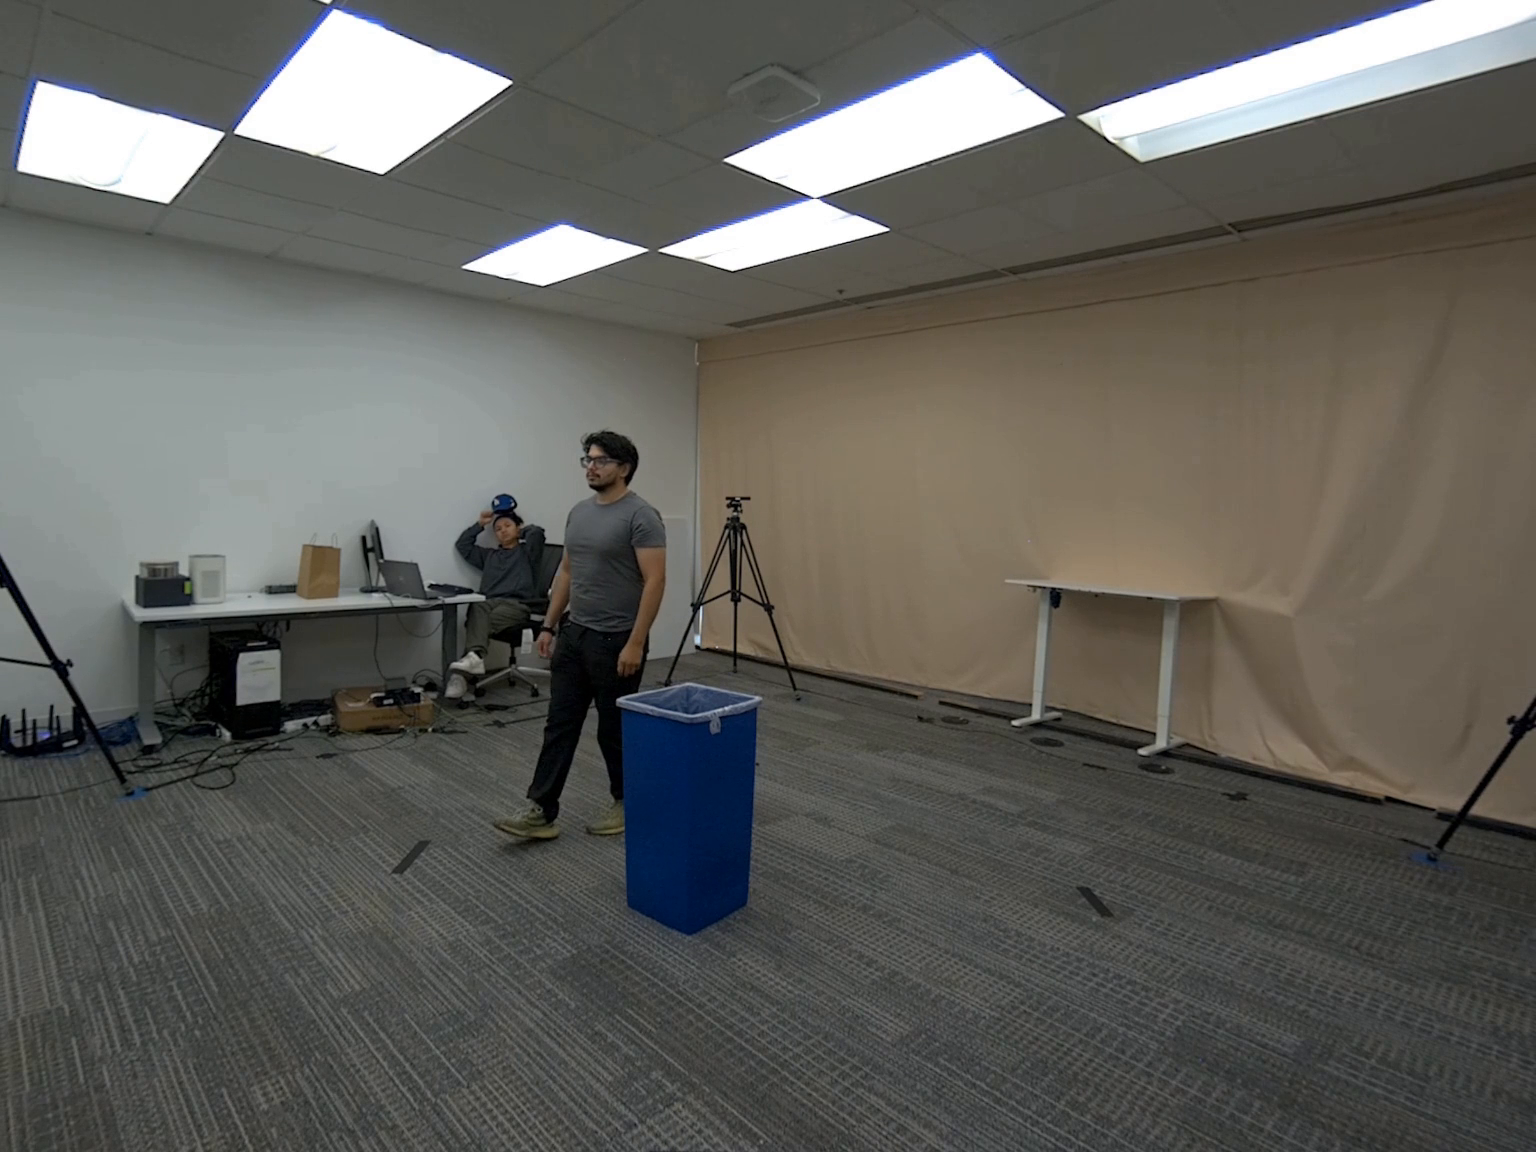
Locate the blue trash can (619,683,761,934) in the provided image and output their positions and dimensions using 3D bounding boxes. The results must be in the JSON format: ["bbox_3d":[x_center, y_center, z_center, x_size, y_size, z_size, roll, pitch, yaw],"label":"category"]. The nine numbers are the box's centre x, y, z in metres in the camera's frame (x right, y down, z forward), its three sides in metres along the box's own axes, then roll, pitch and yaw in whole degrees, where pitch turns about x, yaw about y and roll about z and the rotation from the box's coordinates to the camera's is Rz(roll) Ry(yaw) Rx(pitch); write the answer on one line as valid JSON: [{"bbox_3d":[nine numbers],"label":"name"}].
[{"bbox_3d":[-0.282,0.768,2.861,0.383,0.712,0.369,4,4,39],"label":"blue trash can"}]
